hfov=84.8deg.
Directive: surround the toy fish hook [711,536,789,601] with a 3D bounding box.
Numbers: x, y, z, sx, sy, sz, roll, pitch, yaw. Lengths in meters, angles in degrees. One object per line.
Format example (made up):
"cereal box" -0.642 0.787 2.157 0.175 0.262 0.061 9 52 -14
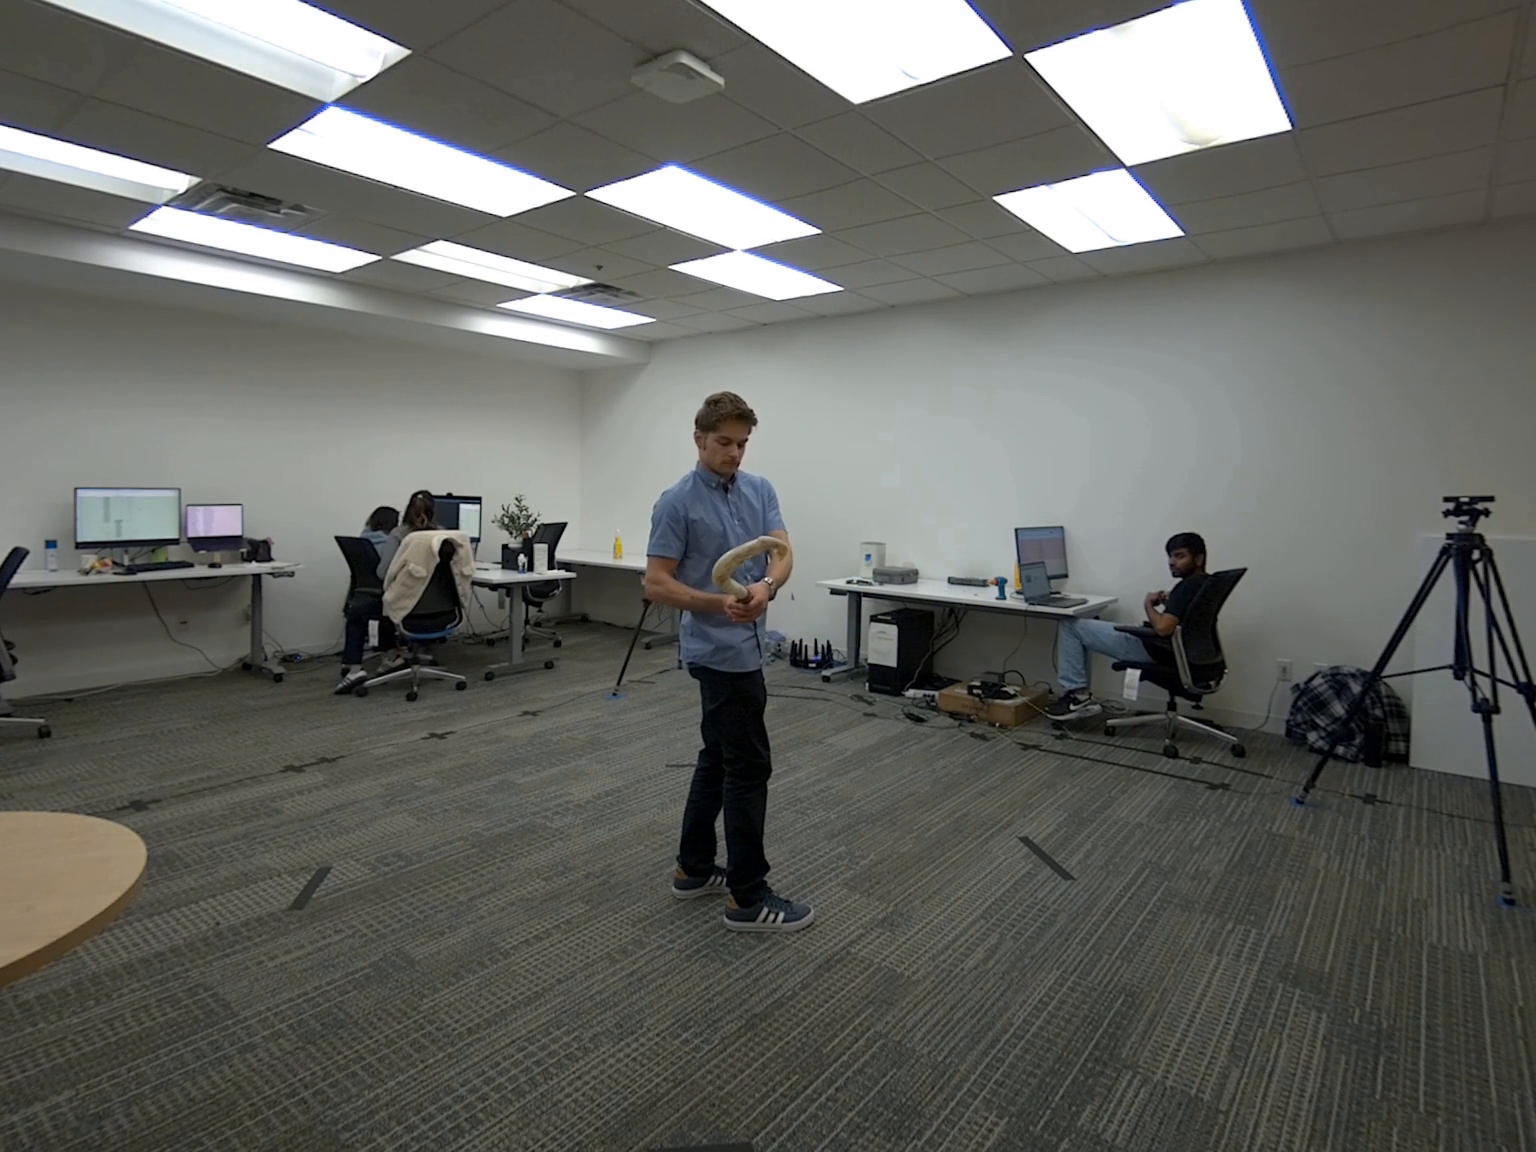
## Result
"toy fish hook" -0.036 0.010 2.422 0.224 0.049 0.494 -22 -20 -5
